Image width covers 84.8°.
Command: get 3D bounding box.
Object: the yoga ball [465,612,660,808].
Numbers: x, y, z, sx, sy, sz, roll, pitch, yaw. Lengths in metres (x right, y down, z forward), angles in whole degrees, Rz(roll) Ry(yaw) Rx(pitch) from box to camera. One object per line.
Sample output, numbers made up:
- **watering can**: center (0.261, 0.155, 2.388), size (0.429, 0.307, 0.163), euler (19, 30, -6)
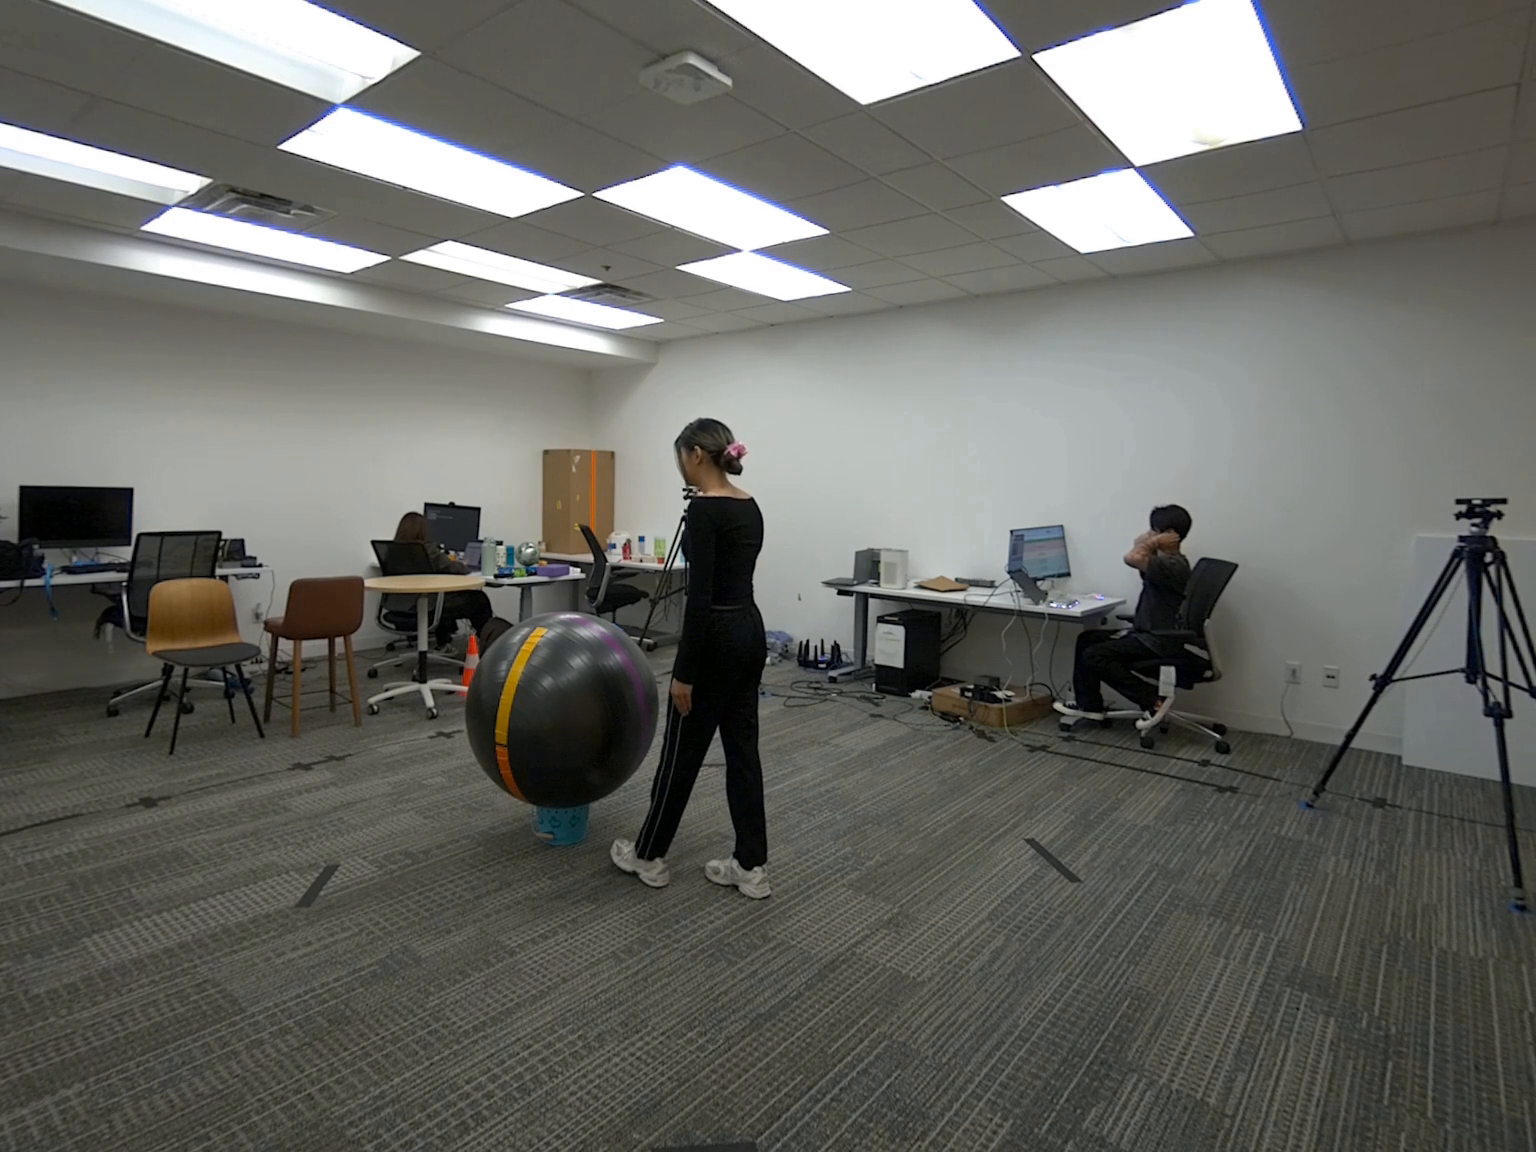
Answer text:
- **yoga ball**: center (-0.823, 0.522, 3.361), size (0.757, 0.755, 0.762), euler (1, 4, -2)
